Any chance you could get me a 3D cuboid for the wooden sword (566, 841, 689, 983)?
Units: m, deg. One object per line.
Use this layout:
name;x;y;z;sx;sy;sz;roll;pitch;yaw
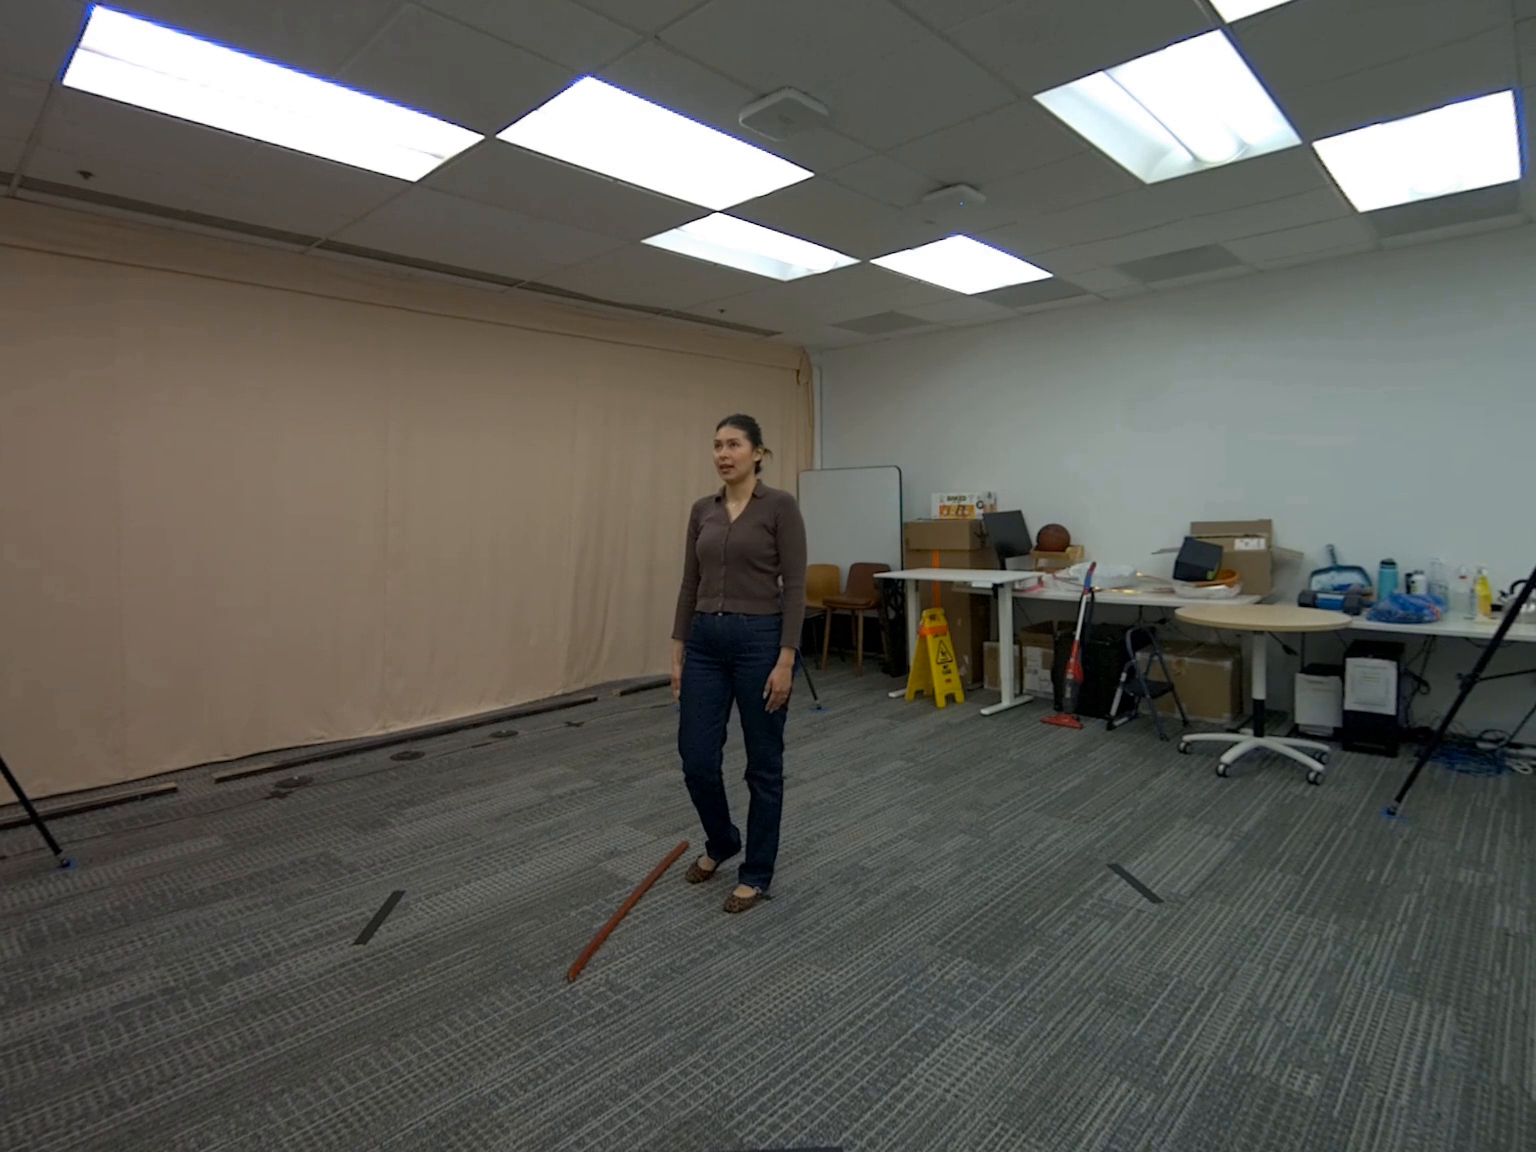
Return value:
wooden sword;-0.461;1.122;2.968;0.024;0.051;1.011;-11;3;14
